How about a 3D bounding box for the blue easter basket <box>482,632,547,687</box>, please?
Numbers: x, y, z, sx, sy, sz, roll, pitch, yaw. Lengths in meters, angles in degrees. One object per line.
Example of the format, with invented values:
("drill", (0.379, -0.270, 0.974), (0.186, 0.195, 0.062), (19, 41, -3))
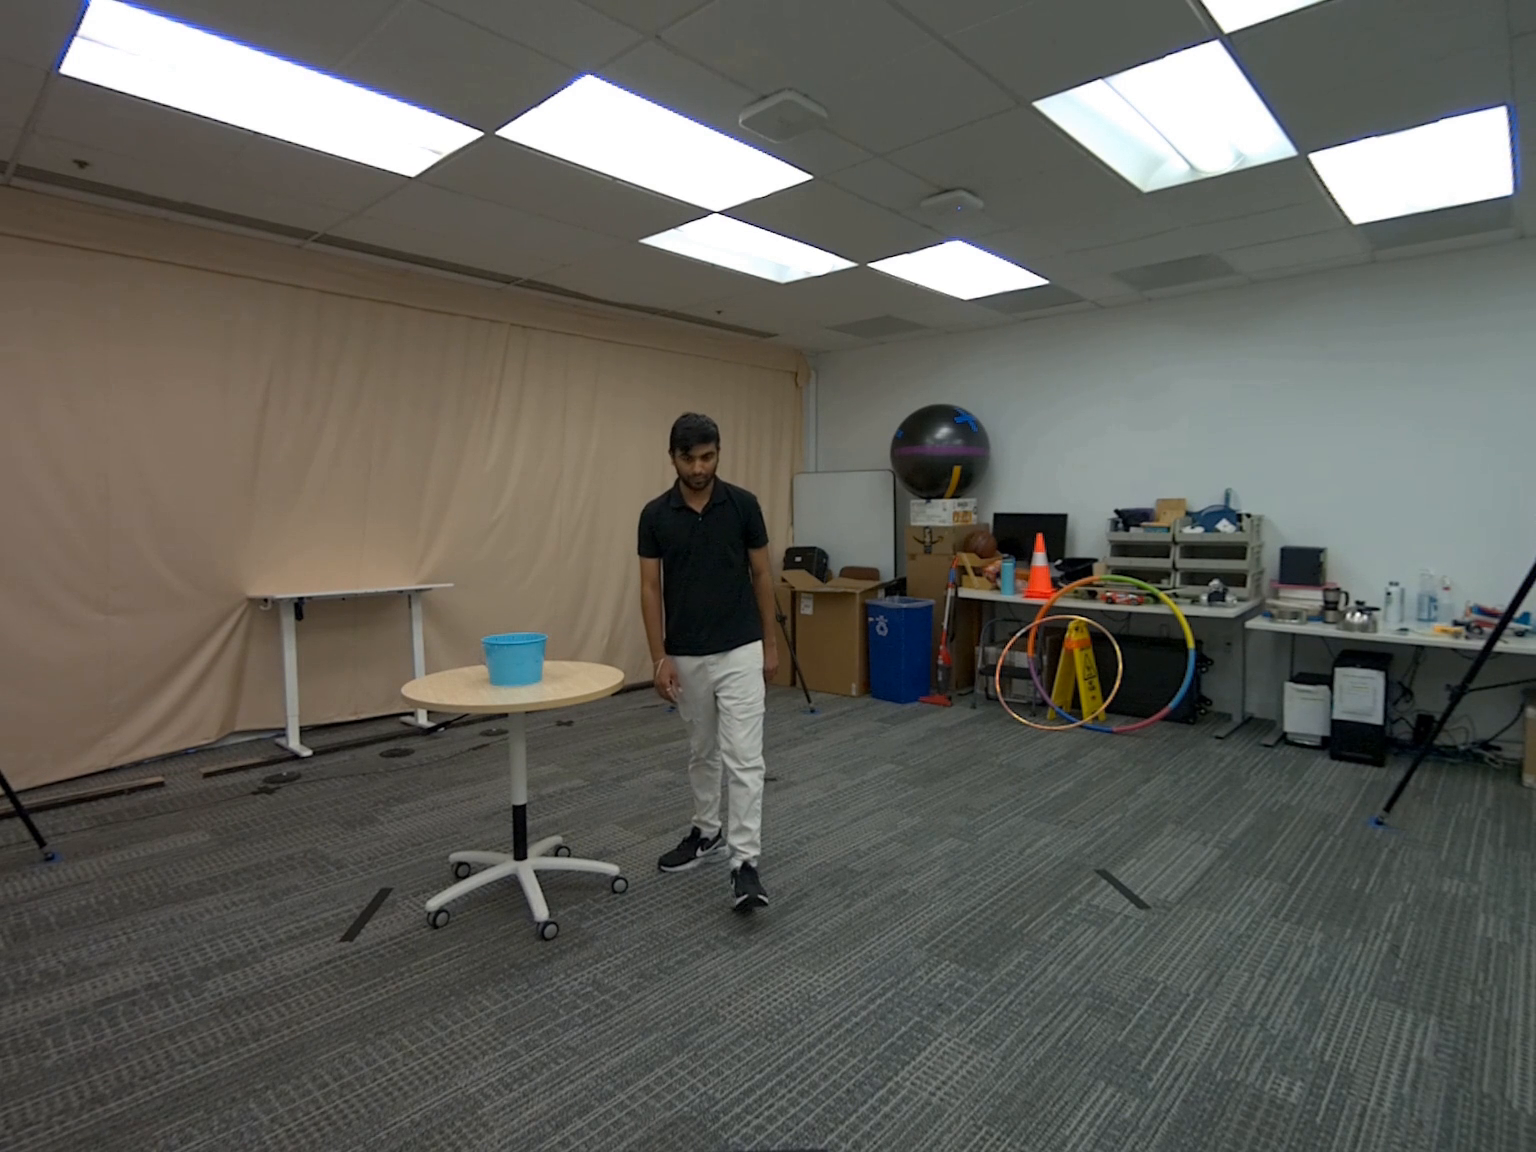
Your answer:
("blue easter basket", (-0.895, 0.297, 2.985), (0.243, 0.155, 0.244), (-1, 4, -2))
